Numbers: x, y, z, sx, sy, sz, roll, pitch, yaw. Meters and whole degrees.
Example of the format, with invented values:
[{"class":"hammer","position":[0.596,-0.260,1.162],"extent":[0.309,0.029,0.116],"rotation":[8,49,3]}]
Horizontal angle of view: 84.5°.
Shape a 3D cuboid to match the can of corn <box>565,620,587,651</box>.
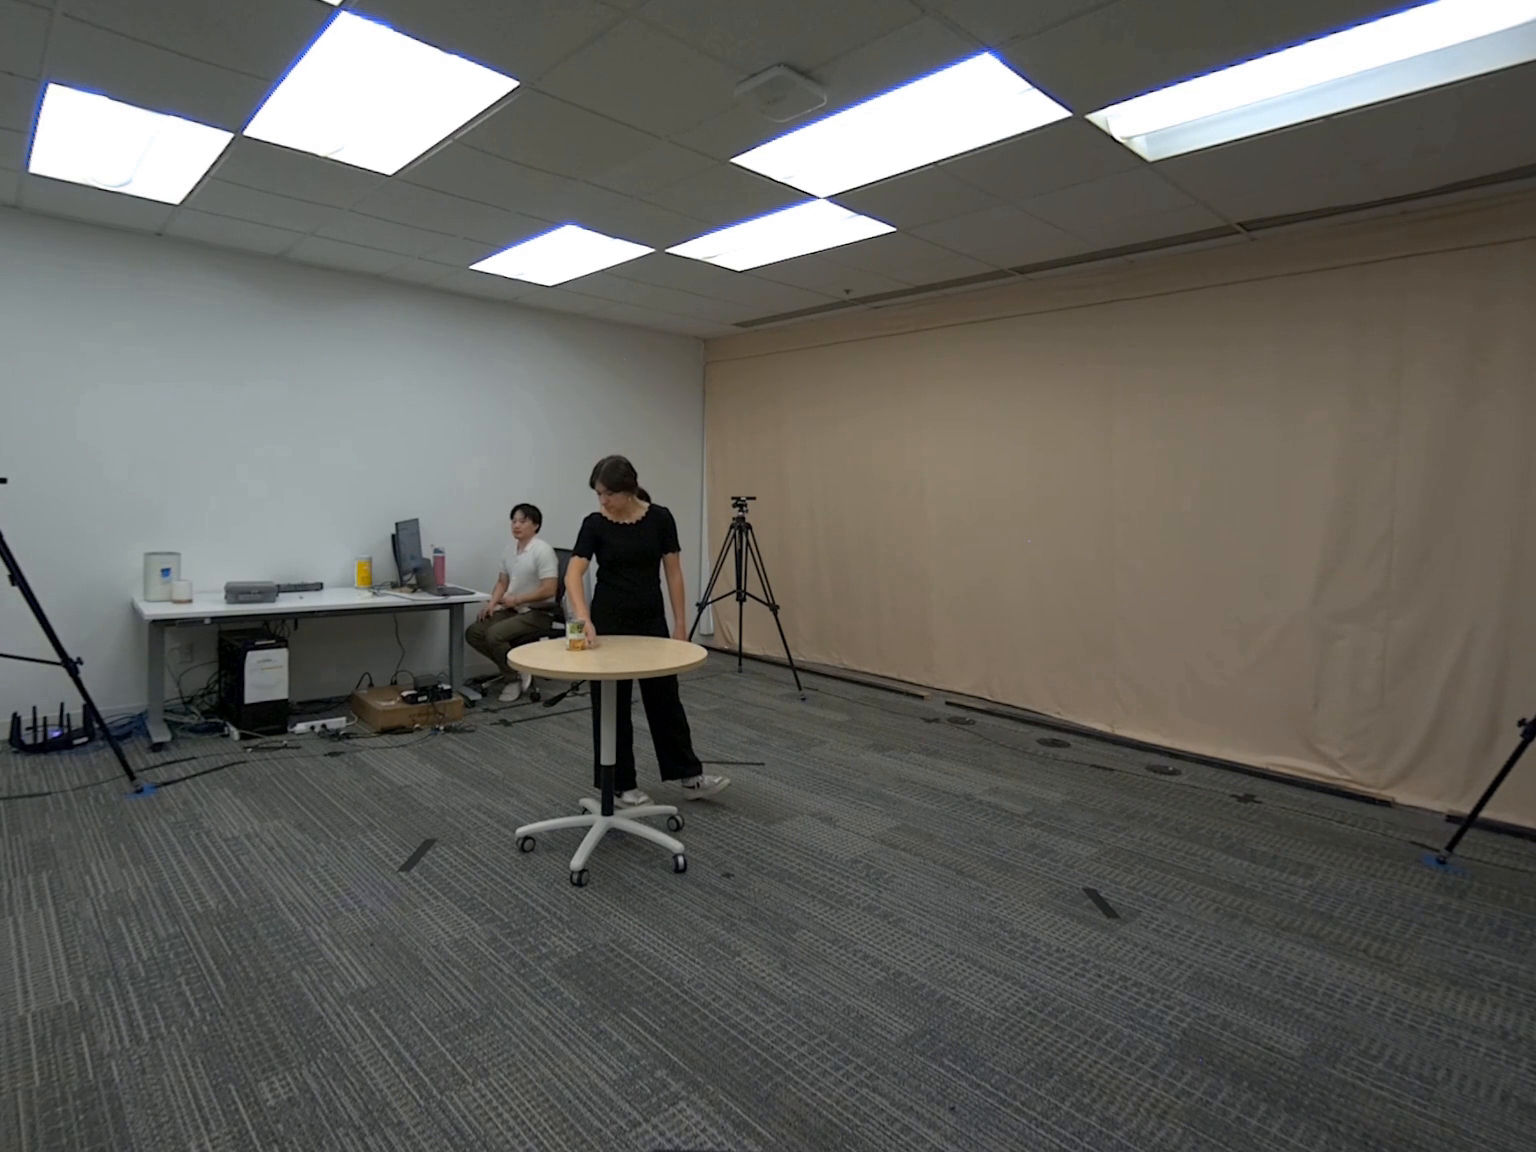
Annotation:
[{"class":"can of corn","position":[-0.778,0.234,3.322],"extent":[0.074,0.111,0.074],"rotation":[0,2,-1]}]
